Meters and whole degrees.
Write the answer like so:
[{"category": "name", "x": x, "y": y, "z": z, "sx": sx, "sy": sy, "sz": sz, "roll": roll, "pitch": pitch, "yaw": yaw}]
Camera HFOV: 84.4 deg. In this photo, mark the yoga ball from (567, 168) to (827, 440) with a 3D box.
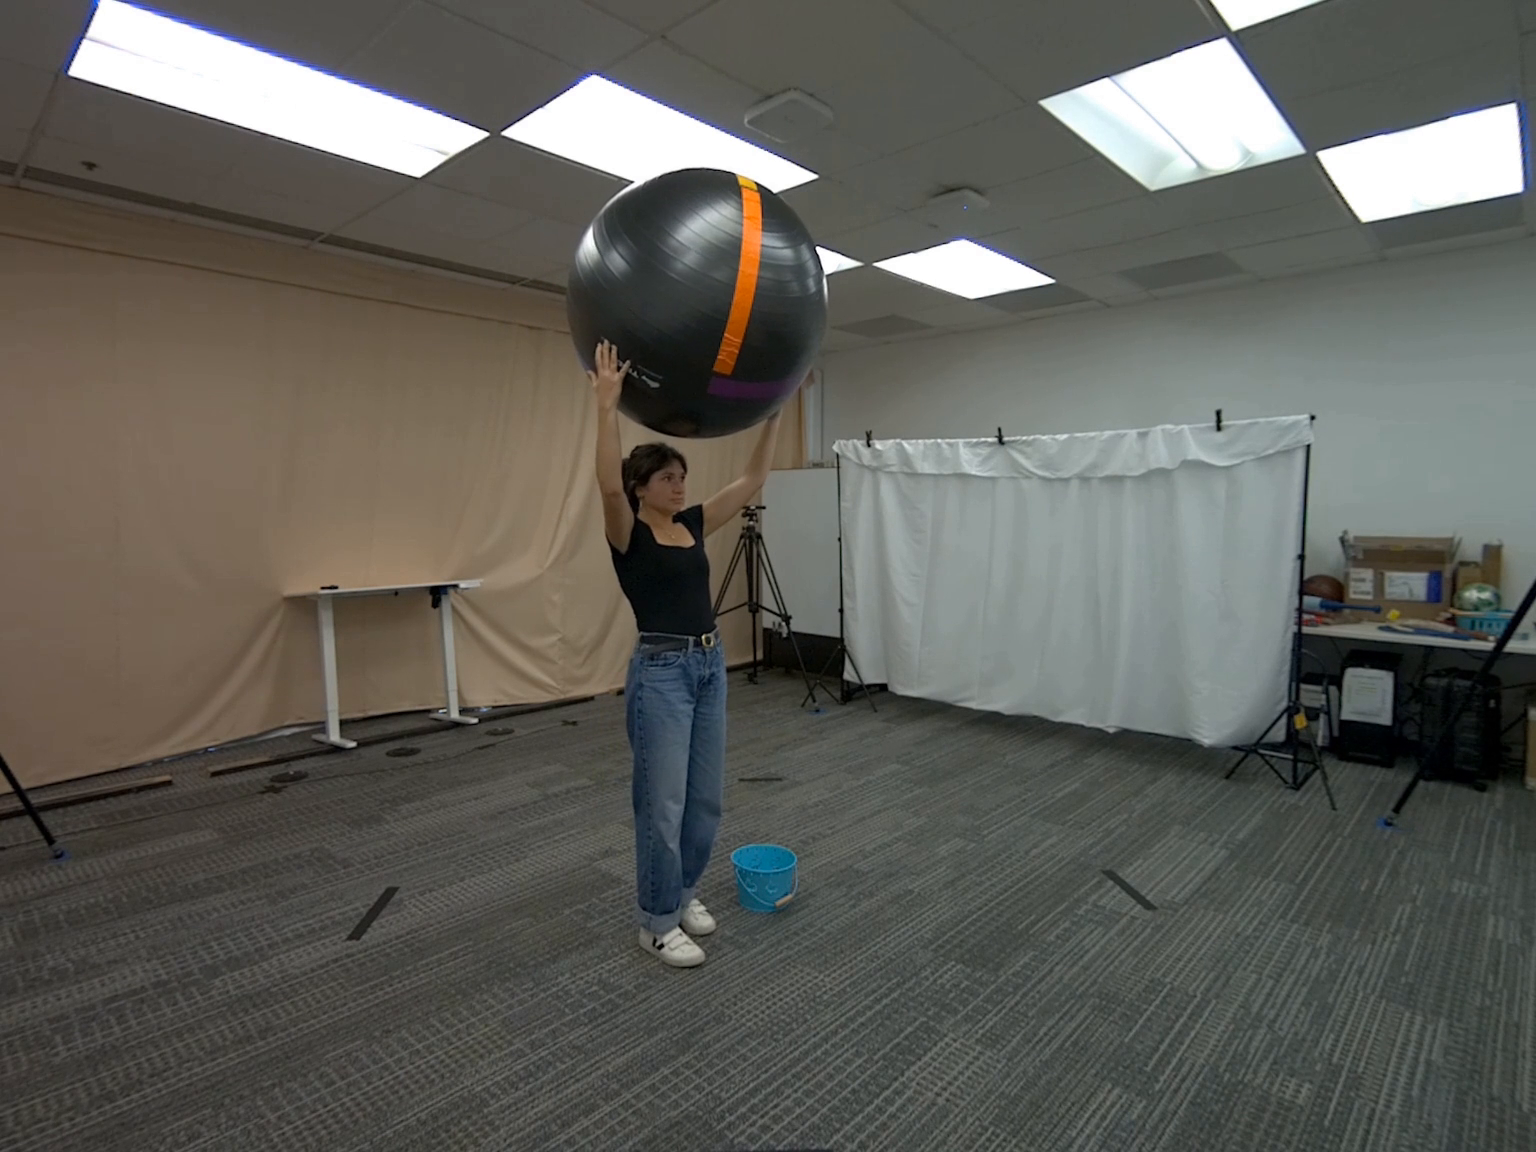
[{"category": "yoga ball", "x": -0.202, "y": -0.782, "z": 2.464, "sx": 0.757, "sy": 0.756, "sz": 0.760, "roll": 0, "pitch": 4, "yaw": -2}]
